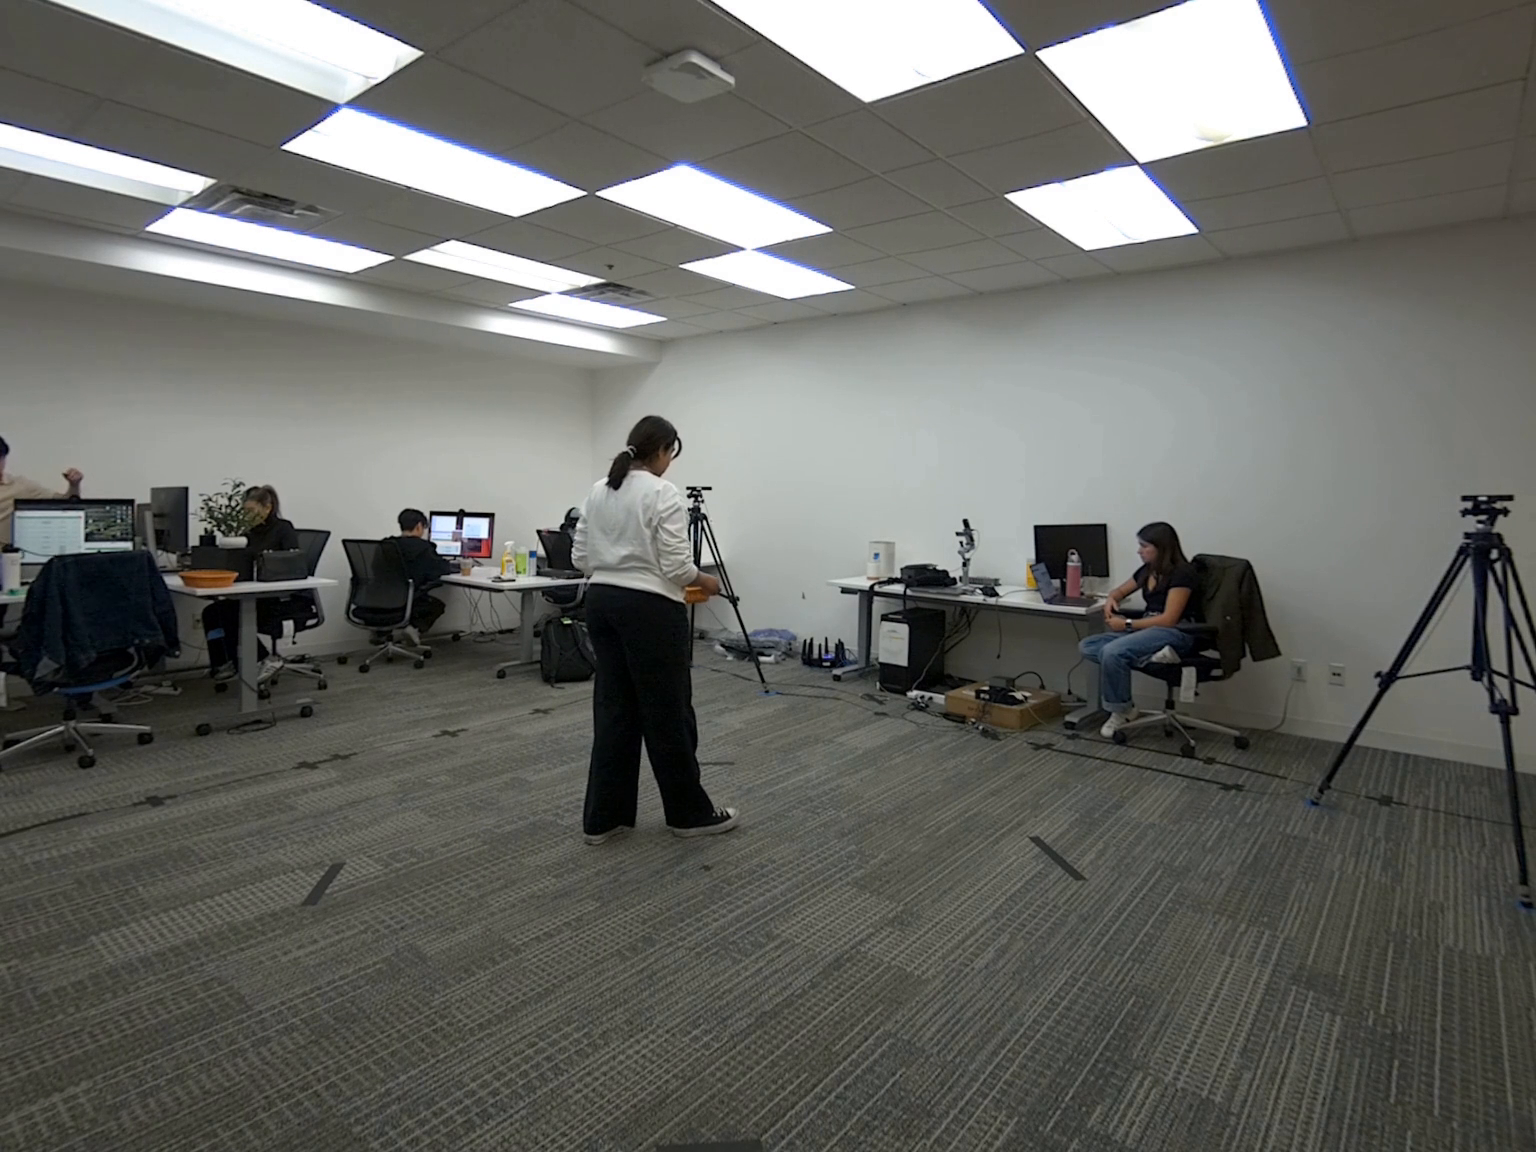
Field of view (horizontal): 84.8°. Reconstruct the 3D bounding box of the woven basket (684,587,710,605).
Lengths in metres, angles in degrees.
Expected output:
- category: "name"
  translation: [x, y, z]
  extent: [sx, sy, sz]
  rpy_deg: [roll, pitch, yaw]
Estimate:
- category: "woven basket"
  translation: [-0.404, 0.069, 3.660]
  extent: [0.245, 0.073, 0.362]
  rpy_deg: [-8, 10, -38]
